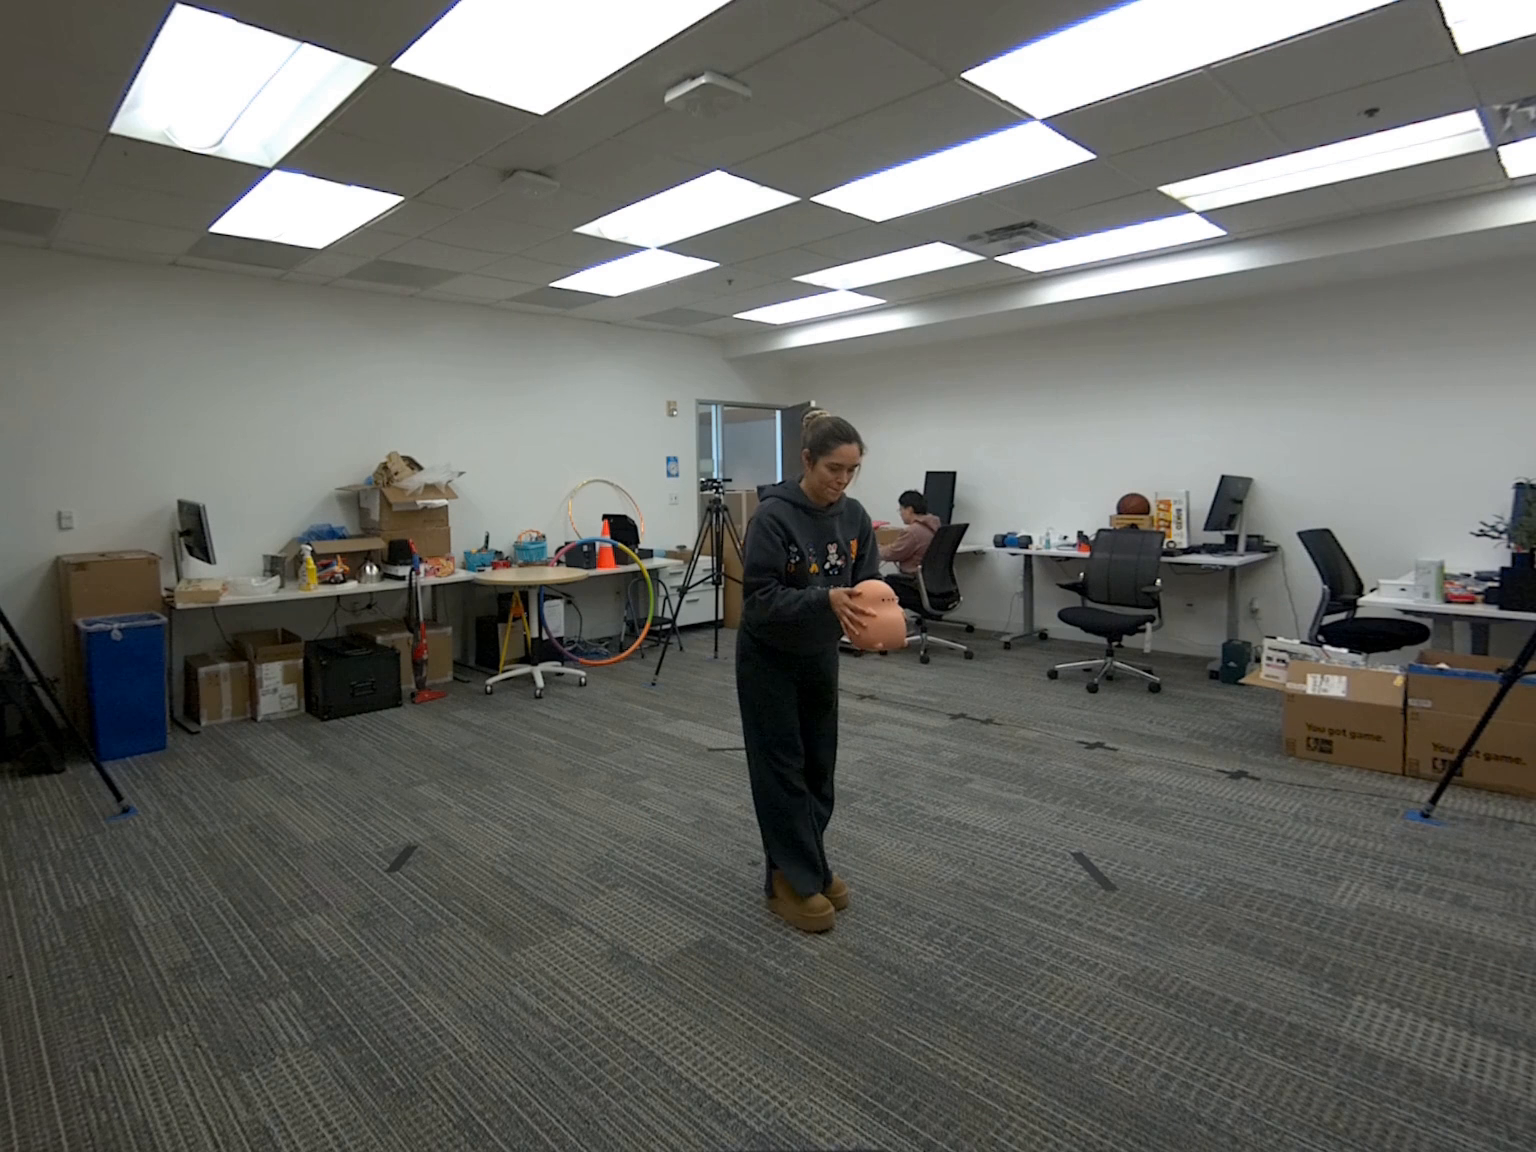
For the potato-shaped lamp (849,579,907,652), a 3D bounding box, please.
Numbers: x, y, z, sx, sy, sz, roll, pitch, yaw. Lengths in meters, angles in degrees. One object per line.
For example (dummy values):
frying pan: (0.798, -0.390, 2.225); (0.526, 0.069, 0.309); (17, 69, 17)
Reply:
potato-shaped lamp: (0.297, 0.115, 2.439); (0.160, 0.198, 0.176); (-3, 0, -34)
